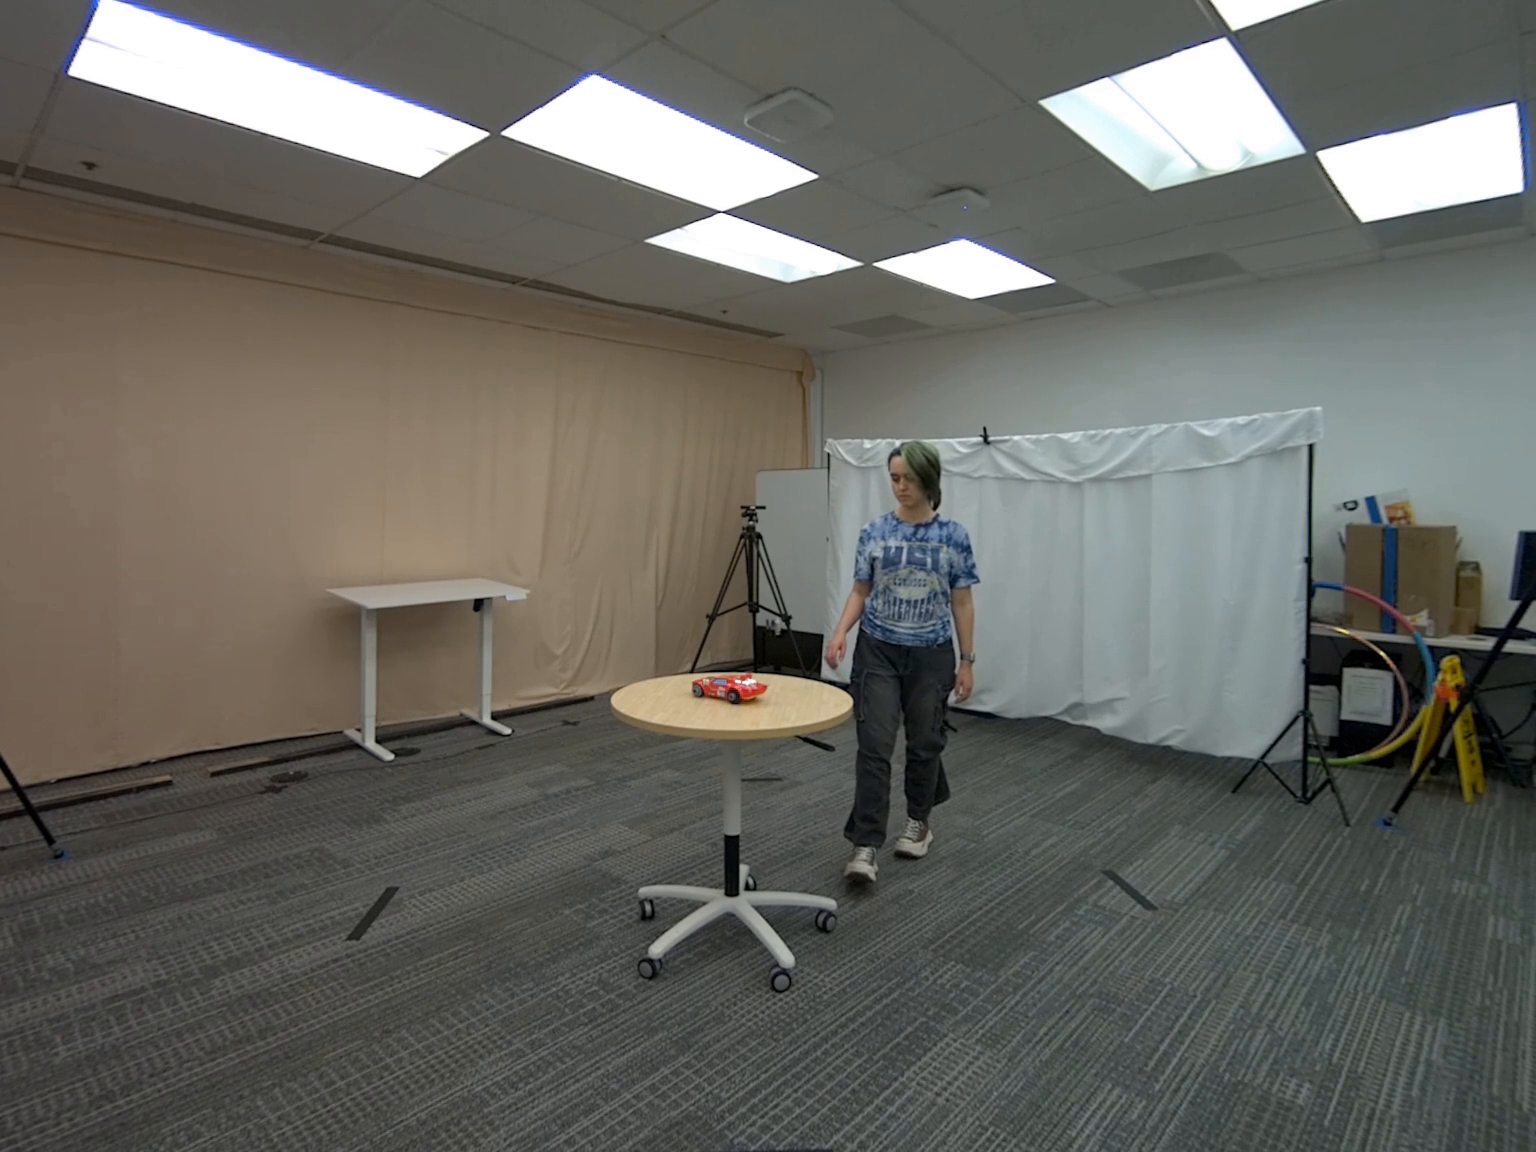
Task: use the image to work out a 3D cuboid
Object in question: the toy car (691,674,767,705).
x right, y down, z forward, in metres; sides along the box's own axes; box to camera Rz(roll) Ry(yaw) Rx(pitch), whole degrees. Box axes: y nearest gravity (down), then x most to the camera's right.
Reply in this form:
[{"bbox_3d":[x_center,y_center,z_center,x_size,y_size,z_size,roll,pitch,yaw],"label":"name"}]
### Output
[{"bbox_3d":[-0.116,0.357,2.654,0.261,0.083,0.126,-9,-2,37],"label":"toy car"}]
